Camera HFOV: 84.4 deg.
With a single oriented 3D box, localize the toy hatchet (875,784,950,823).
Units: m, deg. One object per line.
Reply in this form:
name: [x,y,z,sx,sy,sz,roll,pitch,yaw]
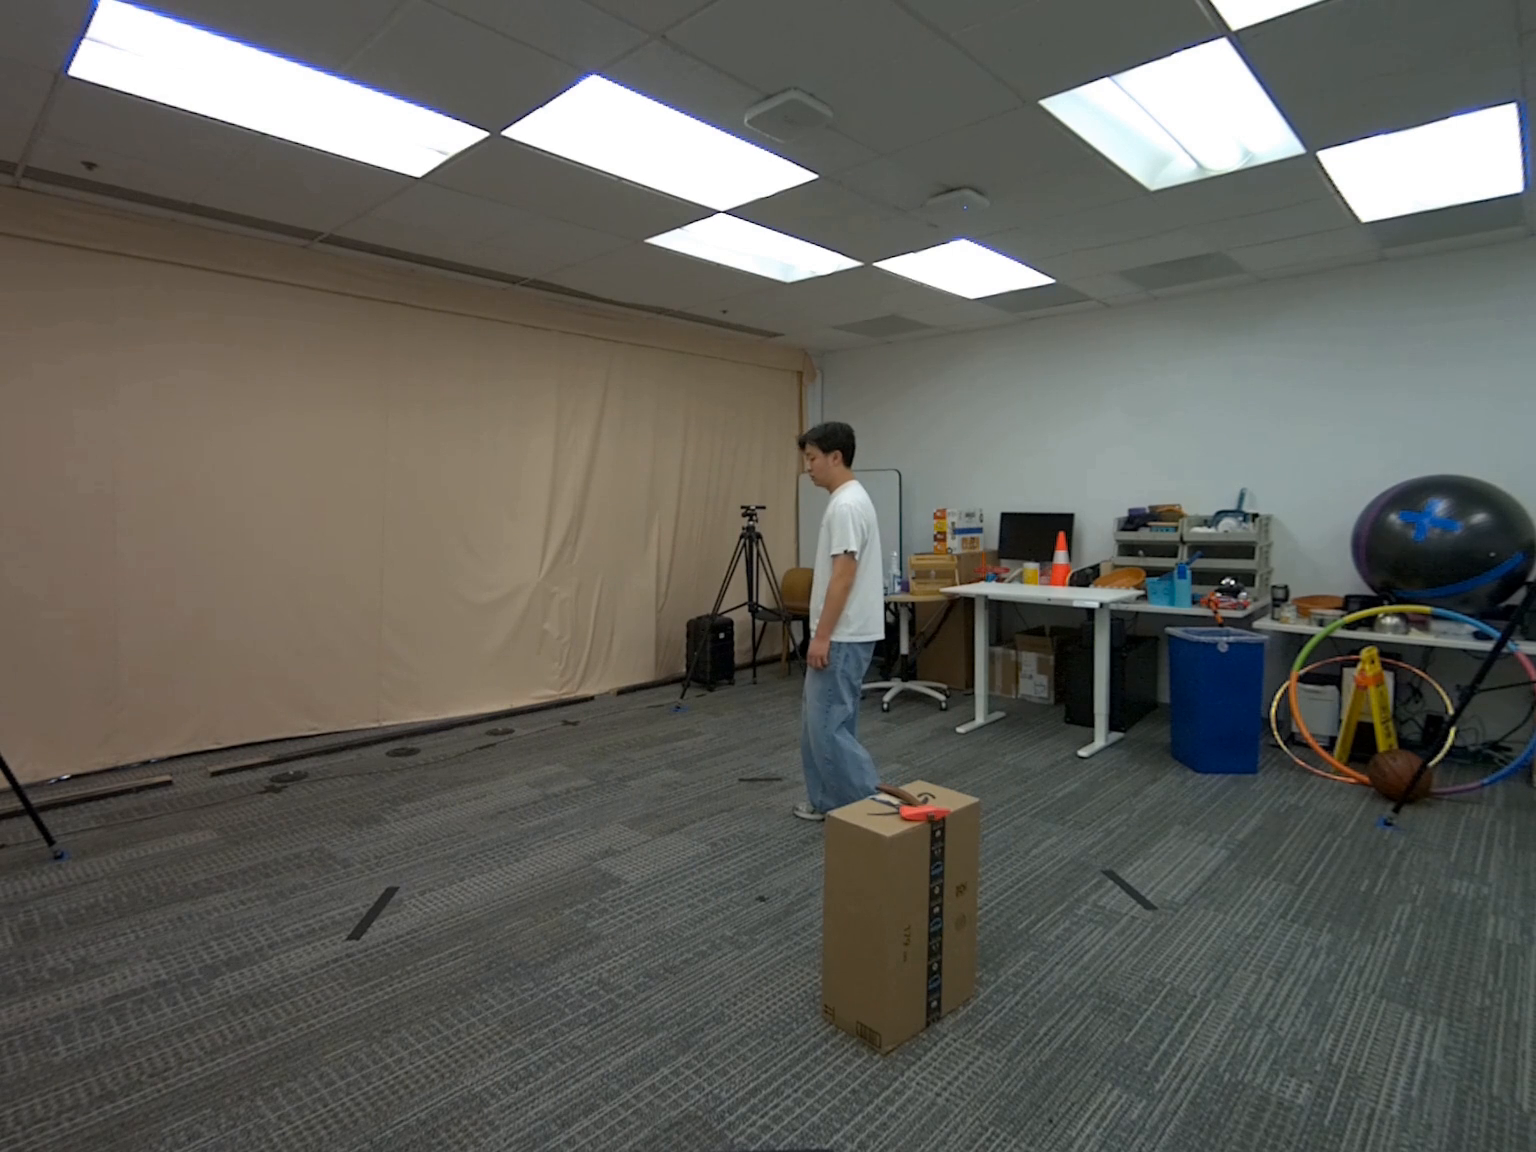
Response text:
toy hatchet: [0.360,0.618,2.318,0.127,0.029,0.278,-7,7,-32]
